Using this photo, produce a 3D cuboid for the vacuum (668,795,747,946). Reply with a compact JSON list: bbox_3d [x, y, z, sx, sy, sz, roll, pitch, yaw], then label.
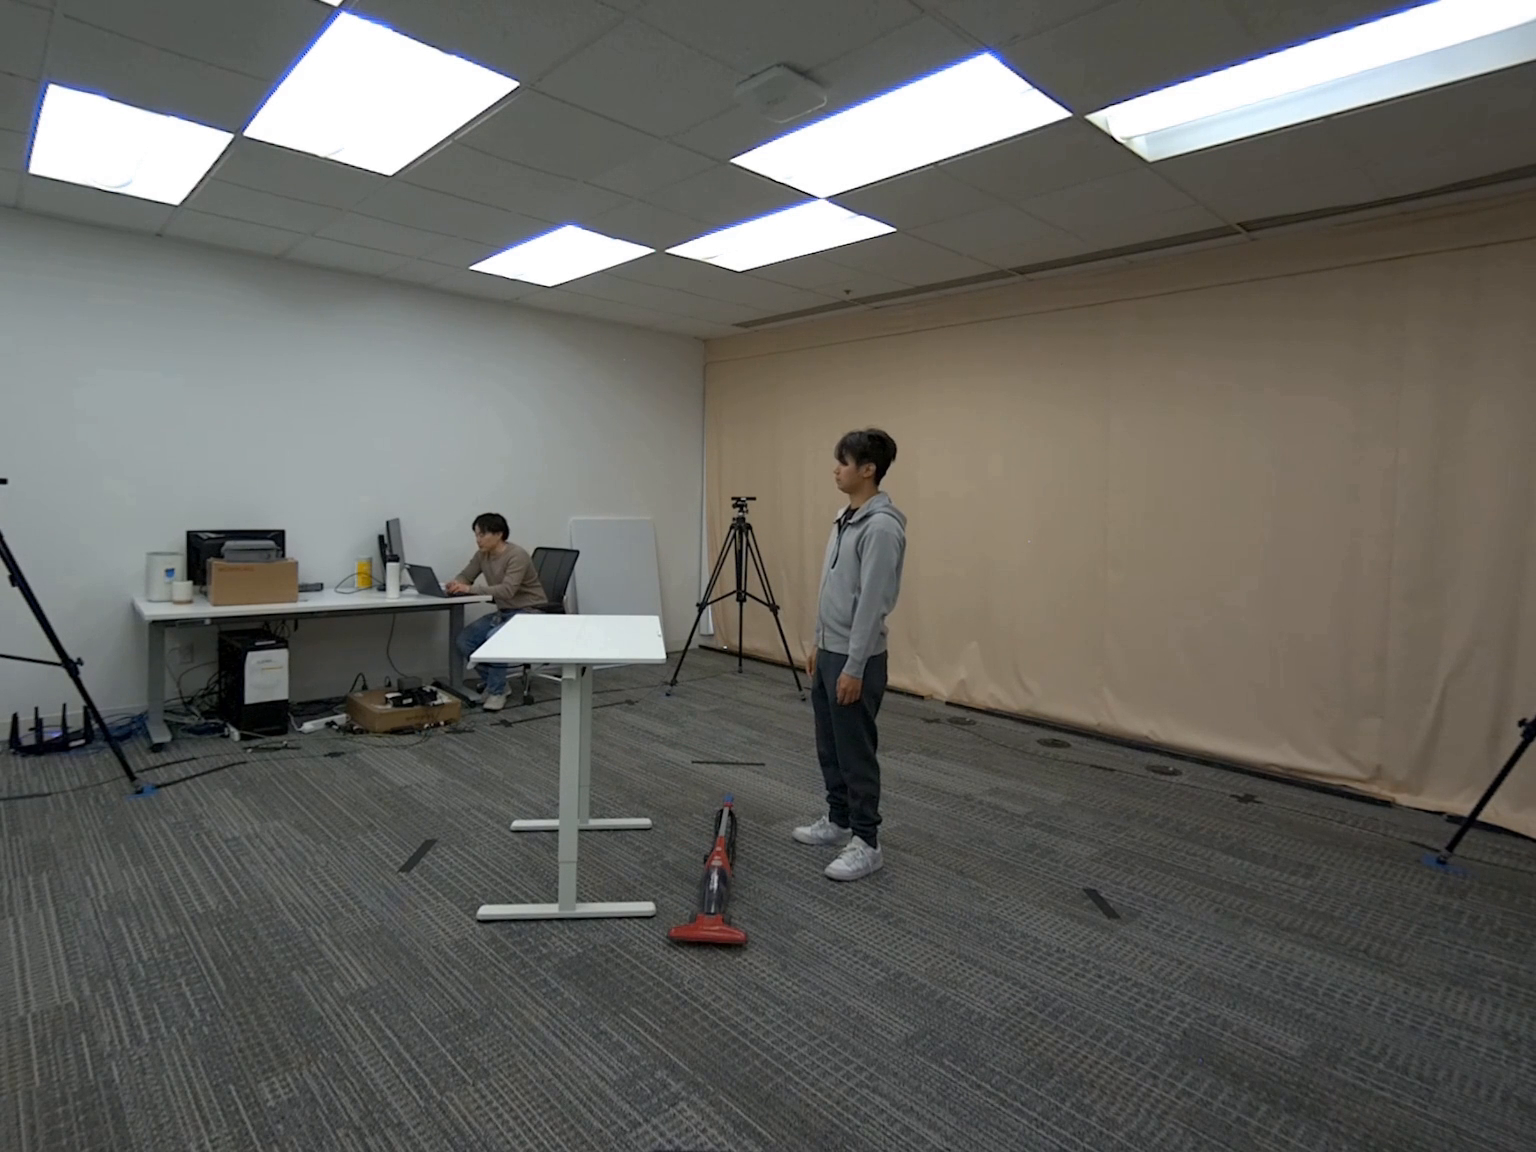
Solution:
[{"bbox_3d":[-0.177,1.033,3.190,0.253,0.143,1.052,4,8,1],"label":"vacuum"}]
